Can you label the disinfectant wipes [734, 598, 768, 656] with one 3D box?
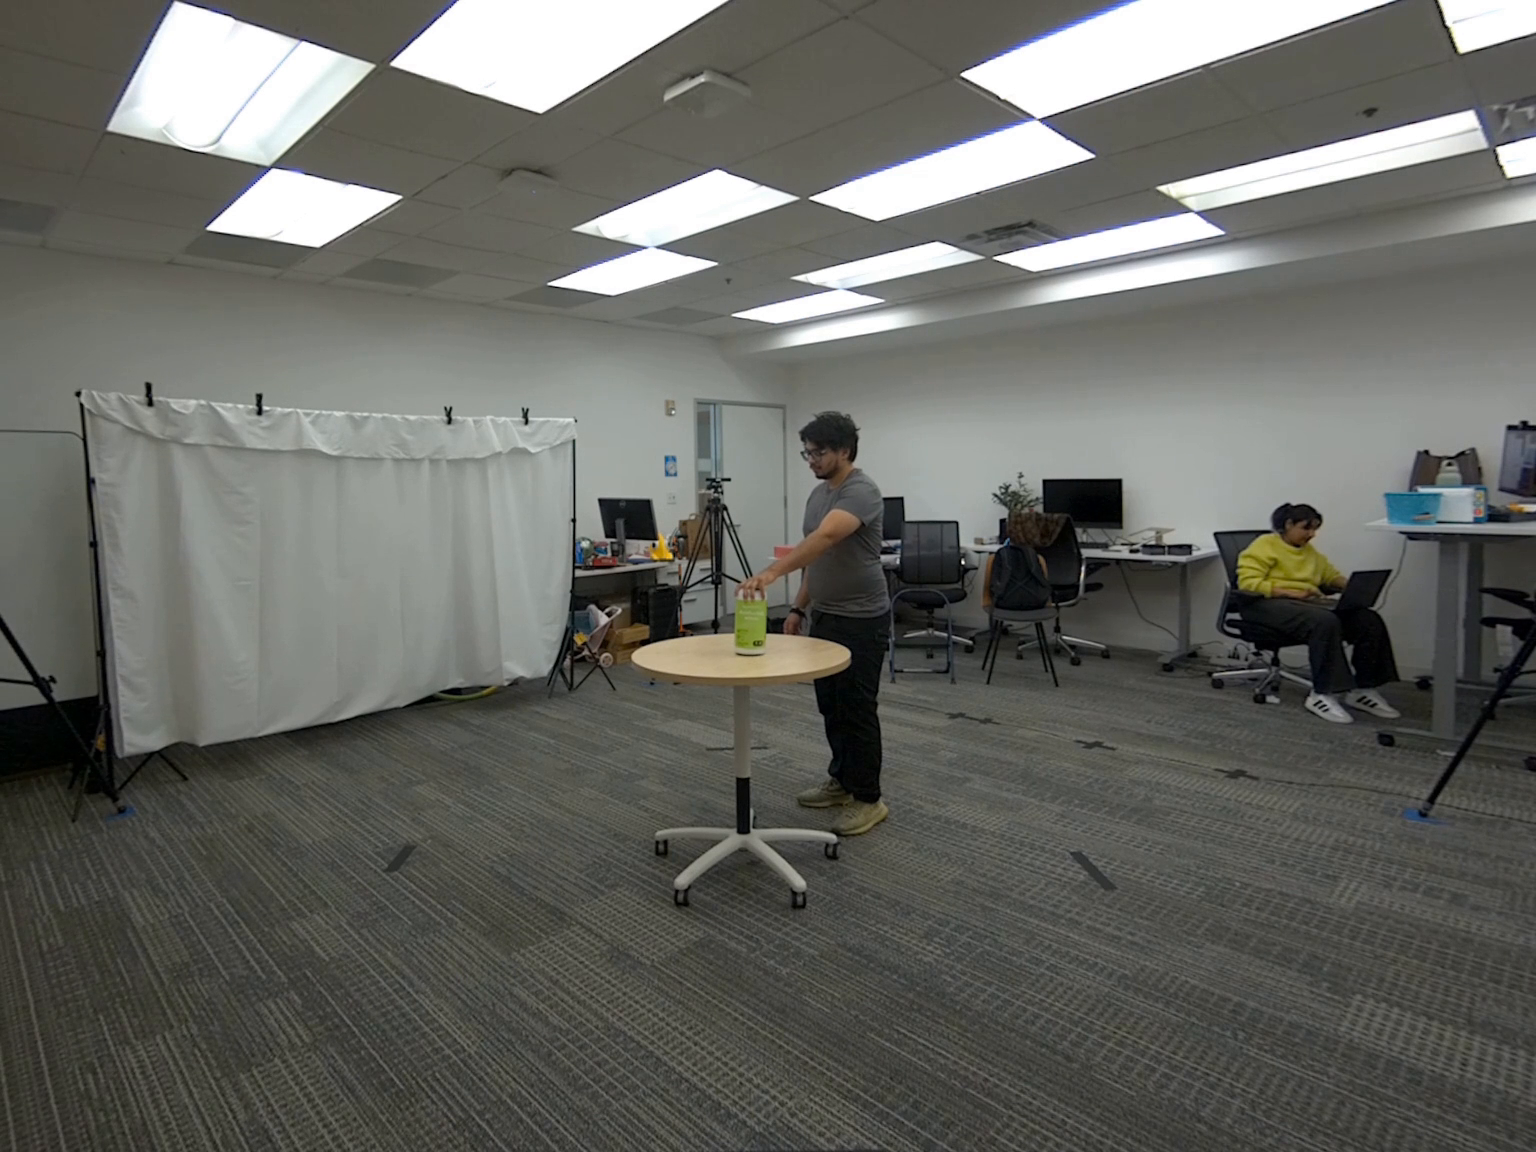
[{"bbox_3d":[-0.062,0.157,2.978,0.118,0.217,0.118,1,2,-2],"label":"disinfectant wipes"}]
